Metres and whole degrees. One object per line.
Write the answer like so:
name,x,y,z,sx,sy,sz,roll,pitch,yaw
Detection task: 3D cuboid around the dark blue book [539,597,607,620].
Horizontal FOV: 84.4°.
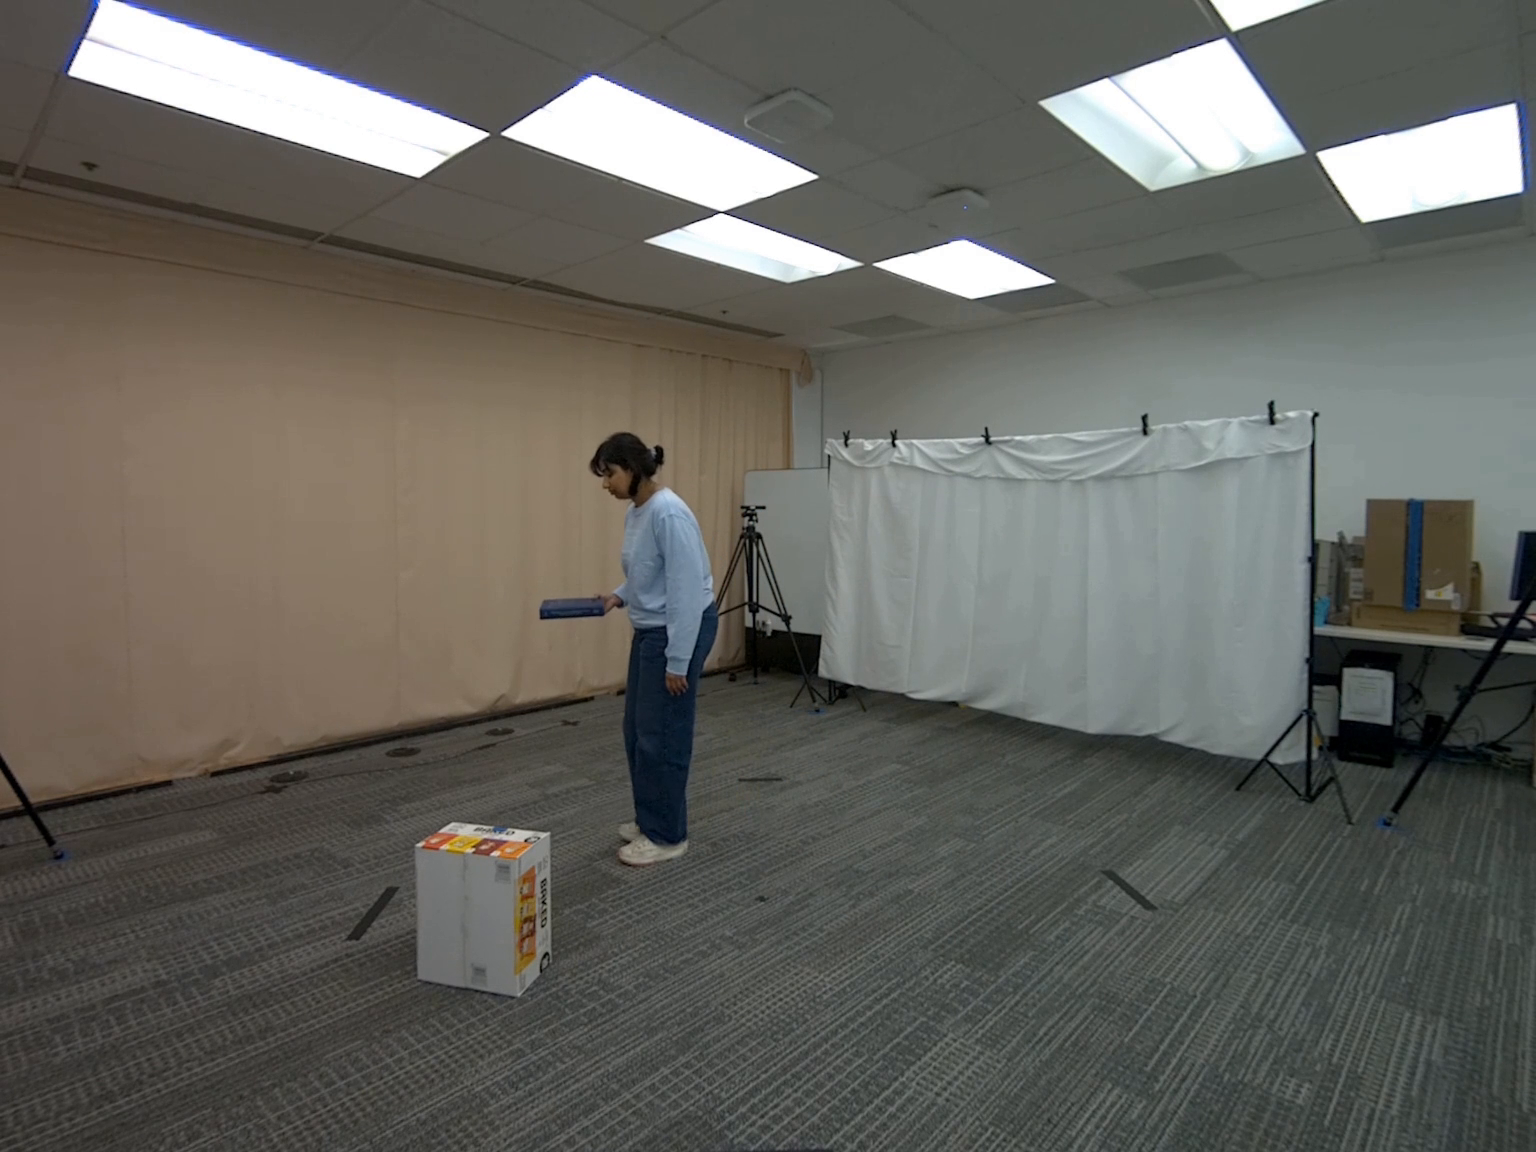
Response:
dark blue book,-0.763,0.131,3.298,0.244,0.045,0.165,-3,9,-5
